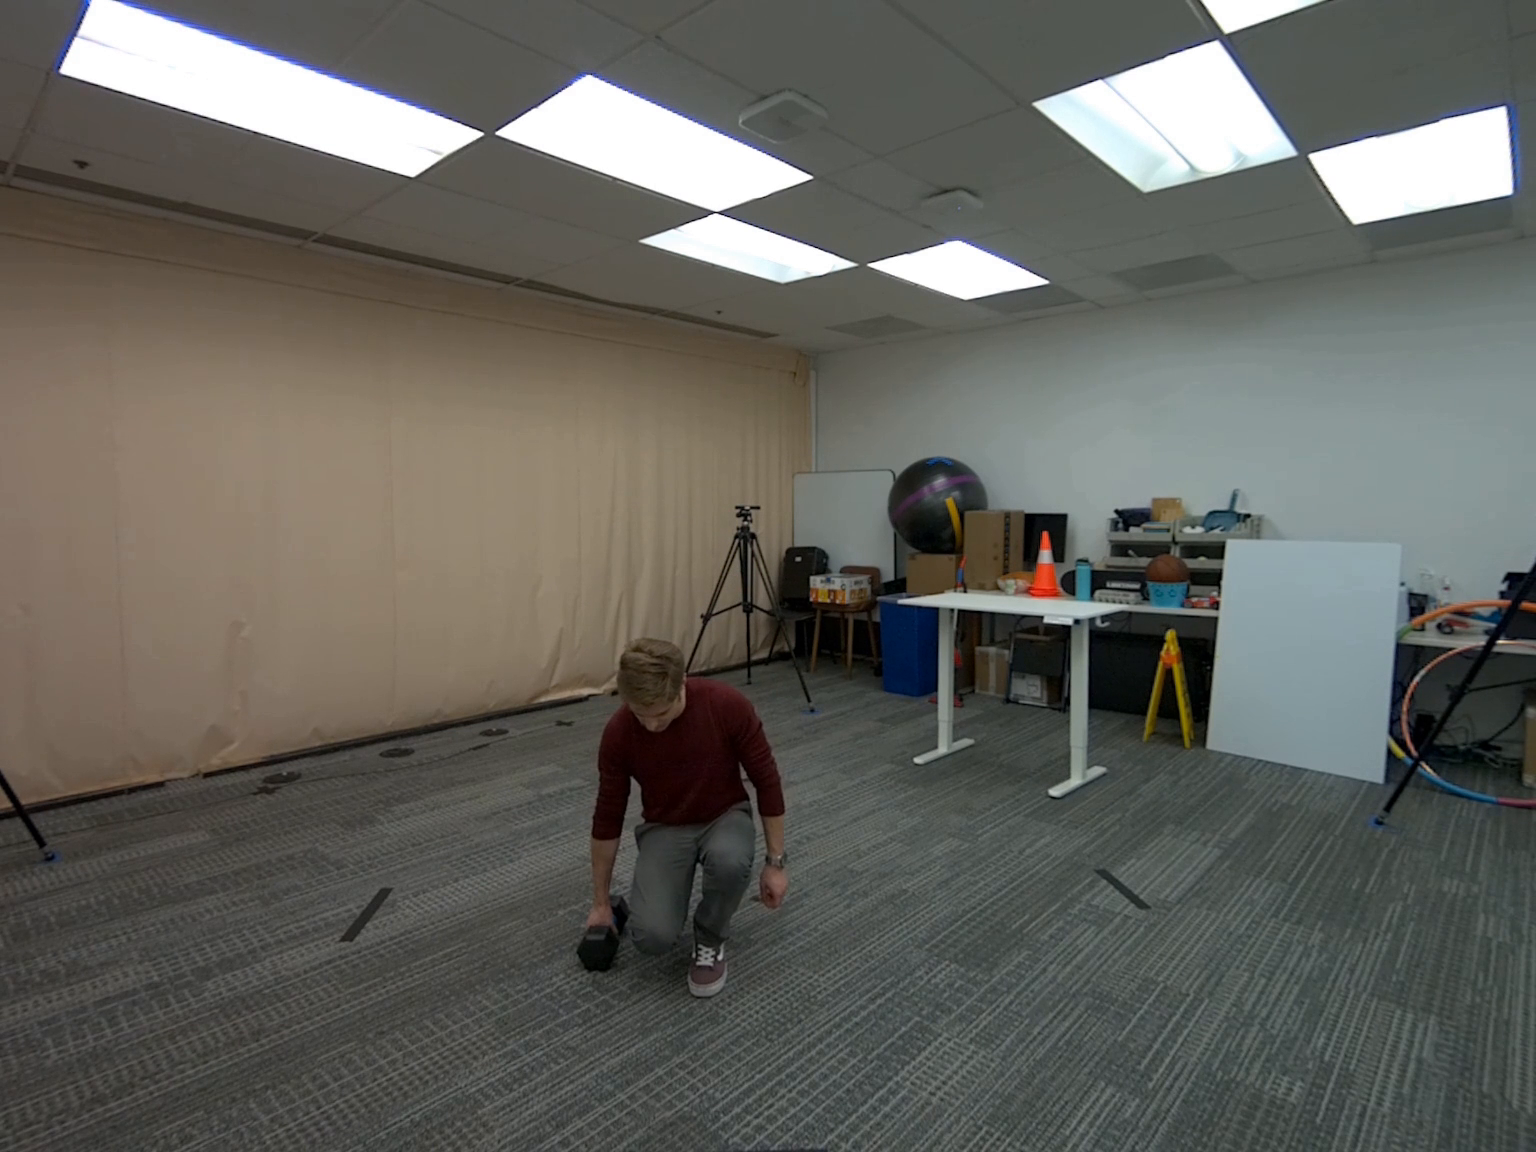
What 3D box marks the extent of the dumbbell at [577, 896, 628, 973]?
[{"bbox_3d":[-0.501,1.107,2.656,0.108,0.123,0.294,30,2,-2],"label":"dumbbell"}]
